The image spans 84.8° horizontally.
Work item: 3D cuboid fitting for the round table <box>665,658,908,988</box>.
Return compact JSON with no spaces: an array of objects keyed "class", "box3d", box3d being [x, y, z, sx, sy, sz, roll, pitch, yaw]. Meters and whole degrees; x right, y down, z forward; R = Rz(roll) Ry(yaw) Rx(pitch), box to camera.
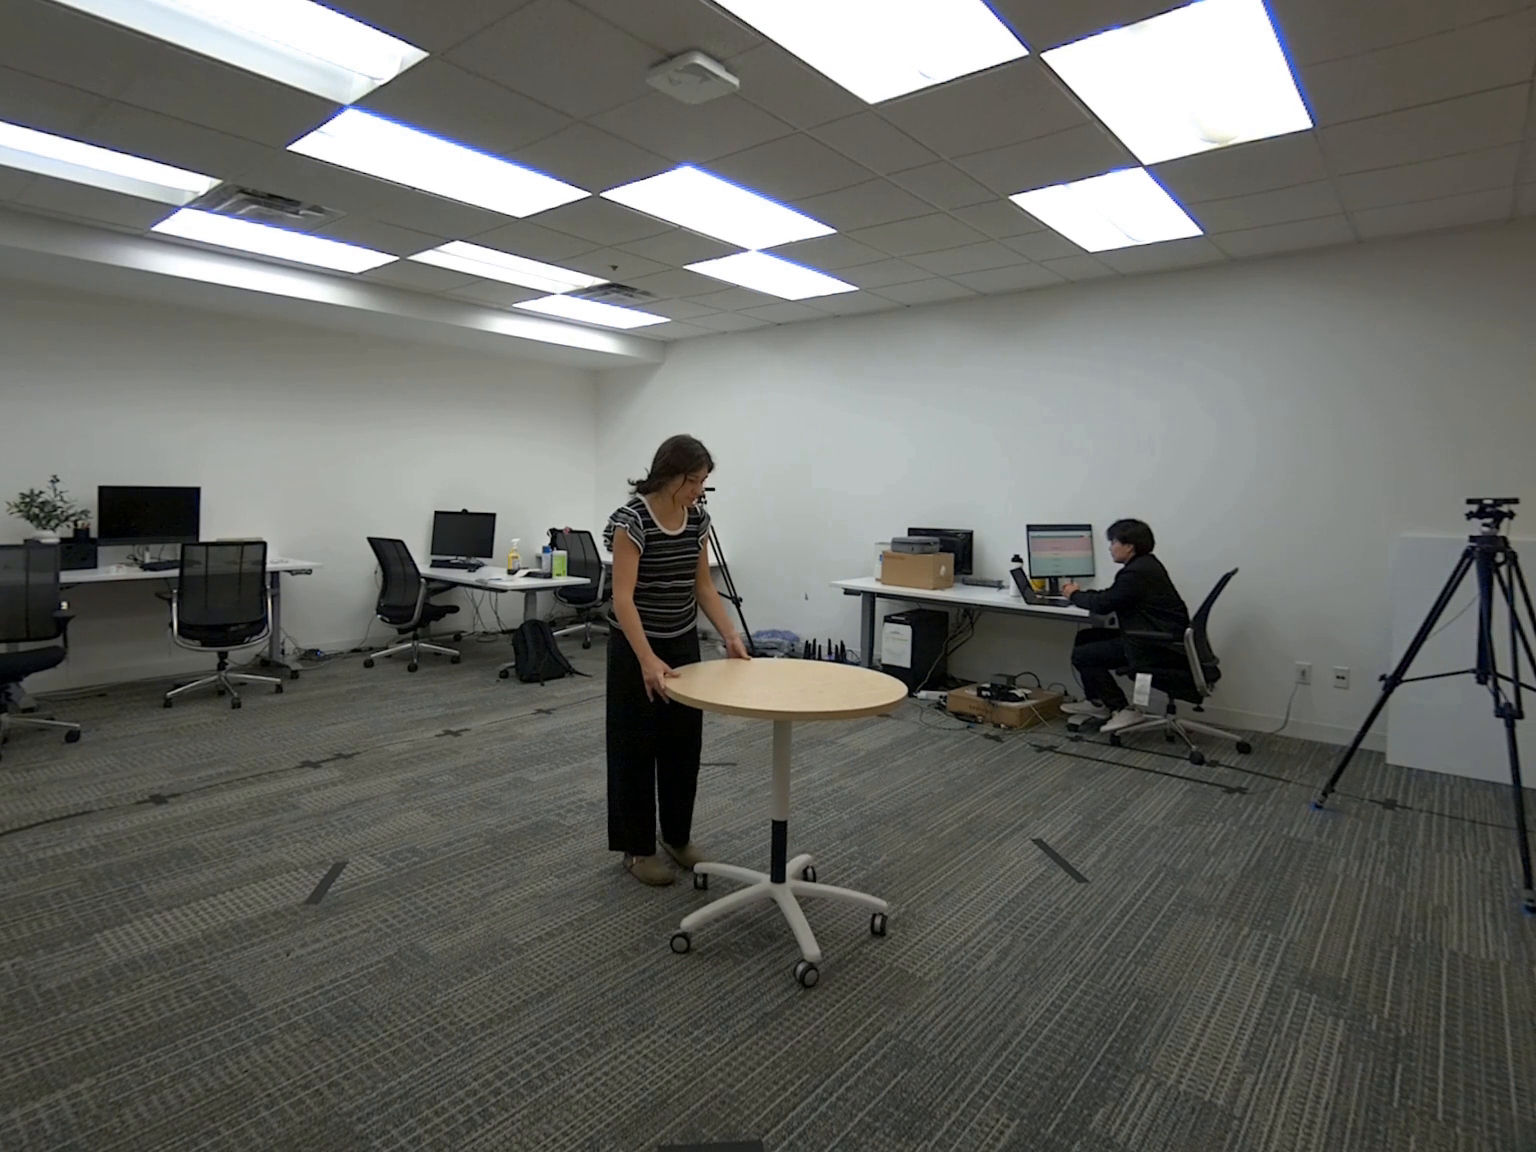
[{"class":"round table","box3d":[0.022,0.714,2.718,0.784,0.784,0.789,2,4,-2]}]
